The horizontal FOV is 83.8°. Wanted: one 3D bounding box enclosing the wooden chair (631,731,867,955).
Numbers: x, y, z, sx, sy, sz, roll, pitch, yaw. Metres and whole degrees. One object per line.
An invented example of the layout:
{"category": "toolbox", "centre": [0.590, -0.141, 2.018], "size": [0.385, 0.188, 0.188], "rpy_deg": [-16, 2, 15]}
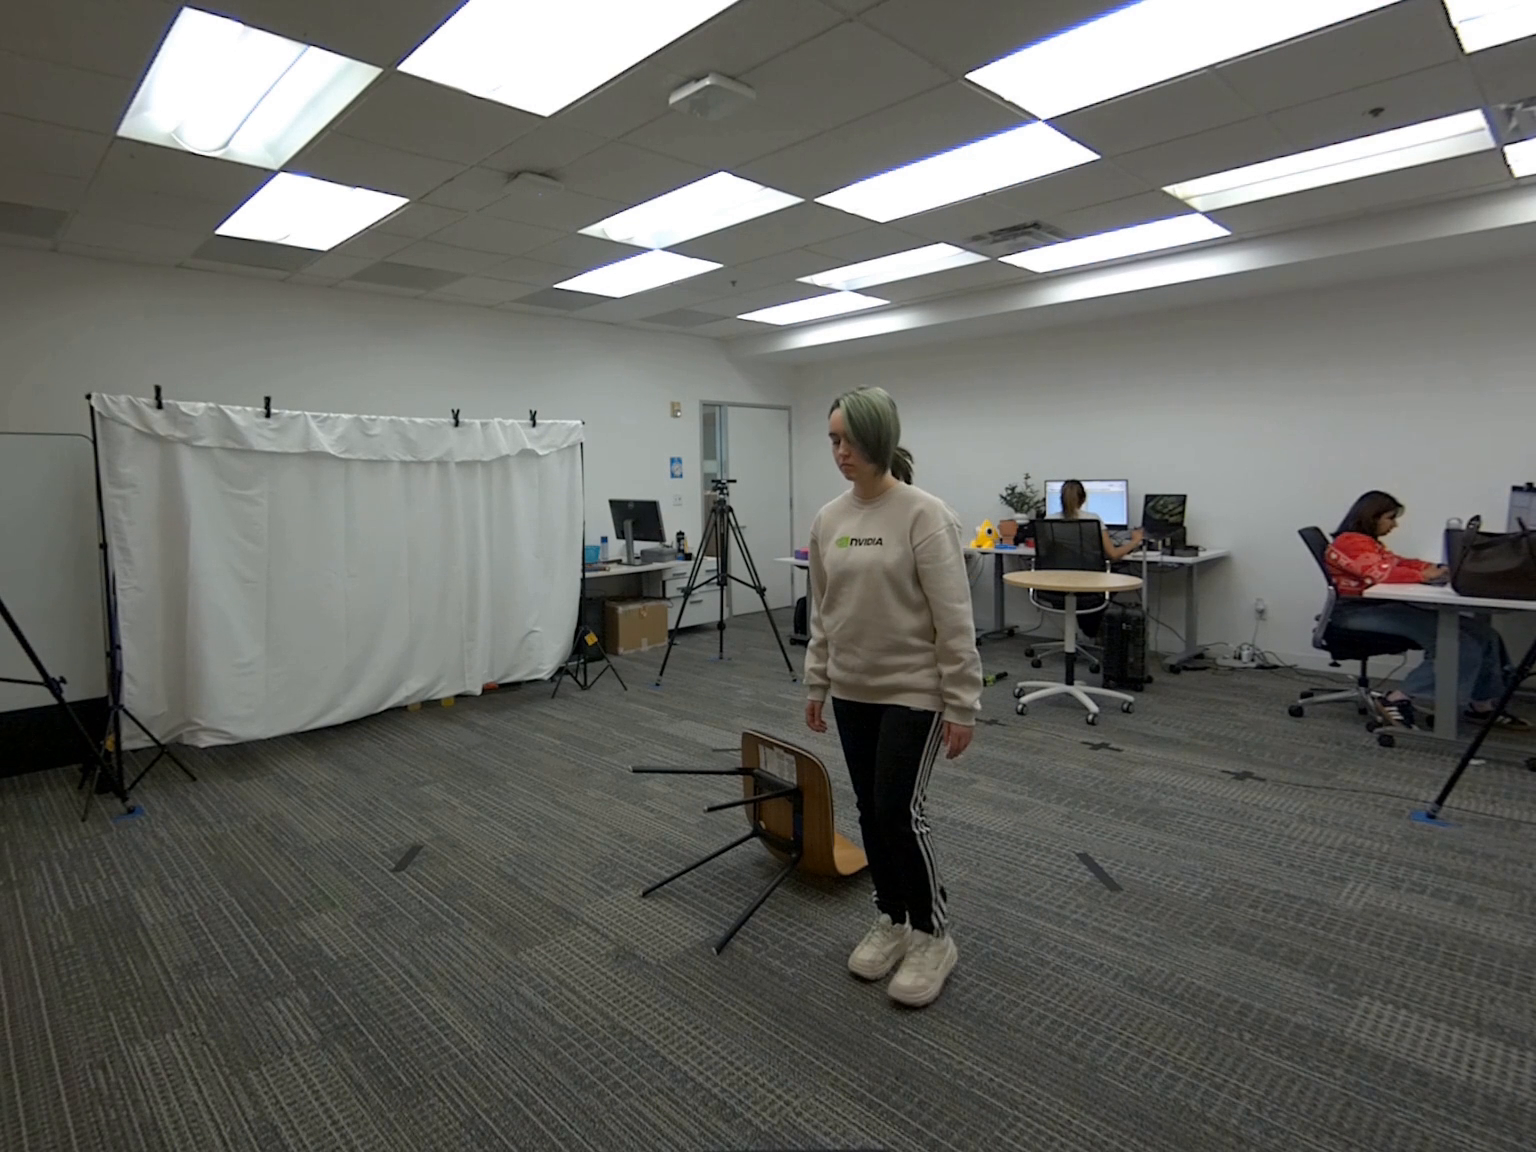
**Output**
{"category": "wooden chair", "centre": [0.029, 0.809, 2.916], "size": [0.854, 0.521, 0.492], "rpy_deg": [-4, 6, -36]}
